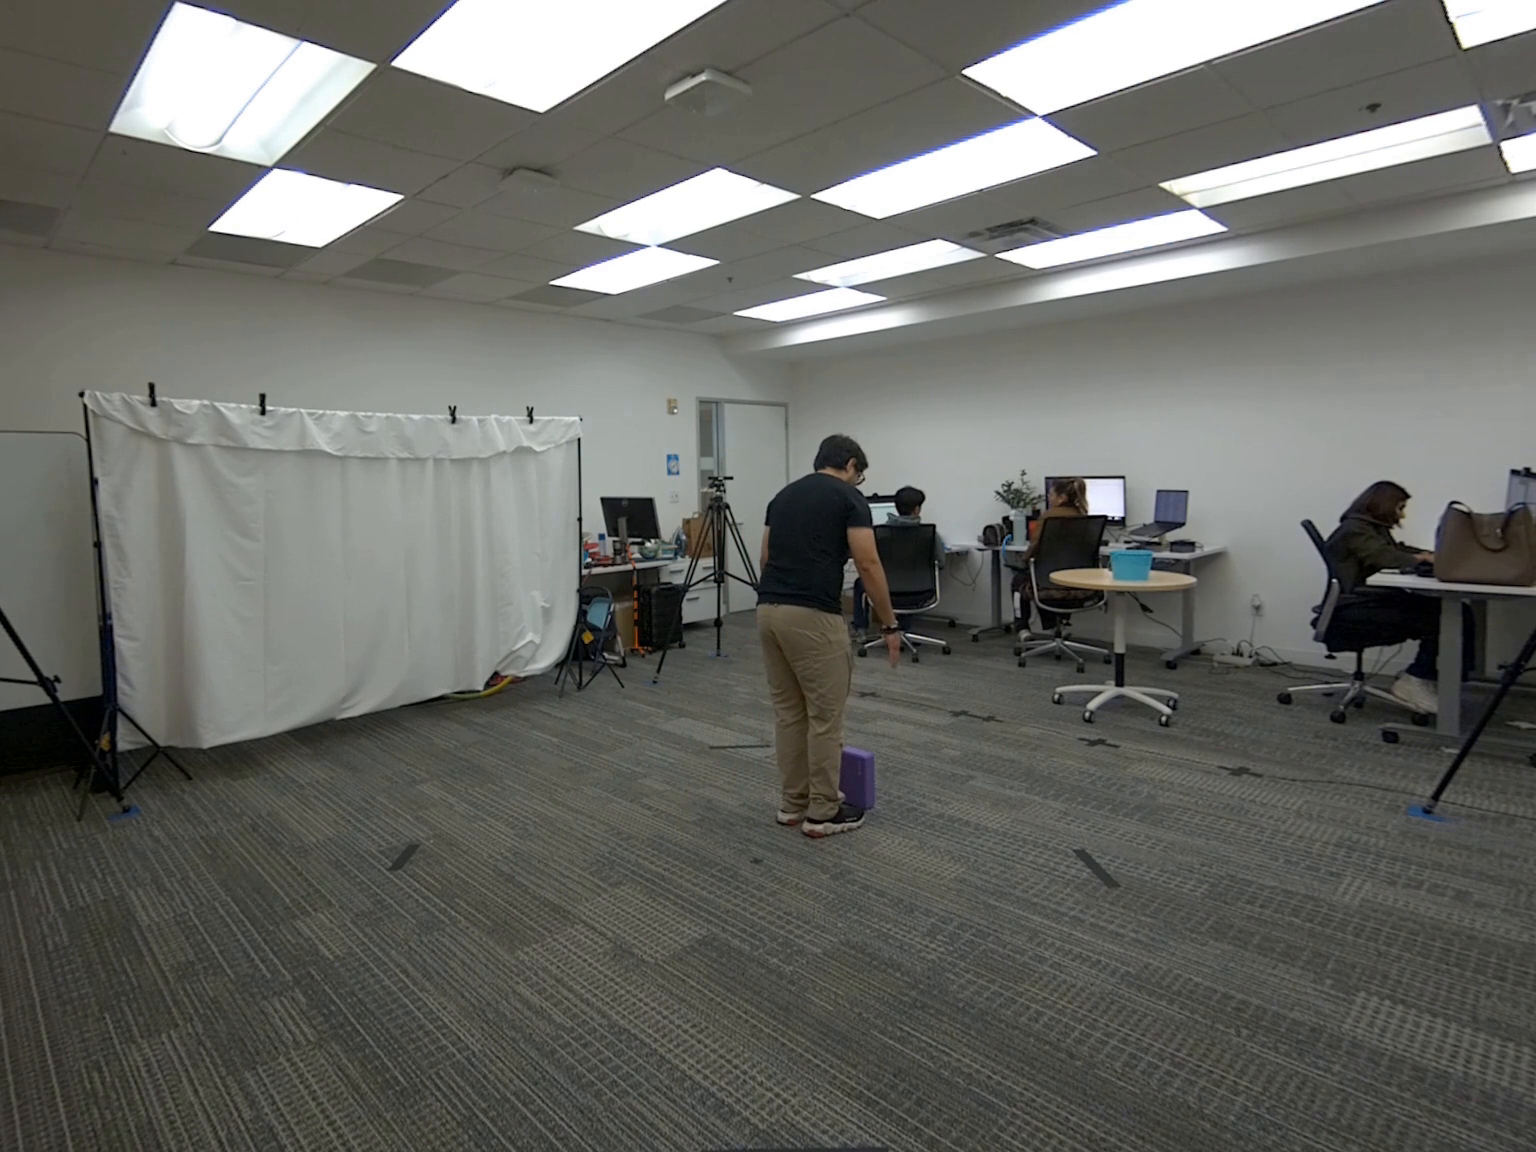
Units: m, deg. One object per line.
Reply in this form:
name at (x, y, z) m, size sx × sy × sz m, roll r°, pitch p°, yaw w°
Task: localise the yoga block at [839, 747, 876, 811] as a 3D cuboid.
yoga block at (0.372, 0.849, 3.619) m, size 0.074 × 0.228 × 0.153 m, roll -7°, pitch 7°, yaw -42°
